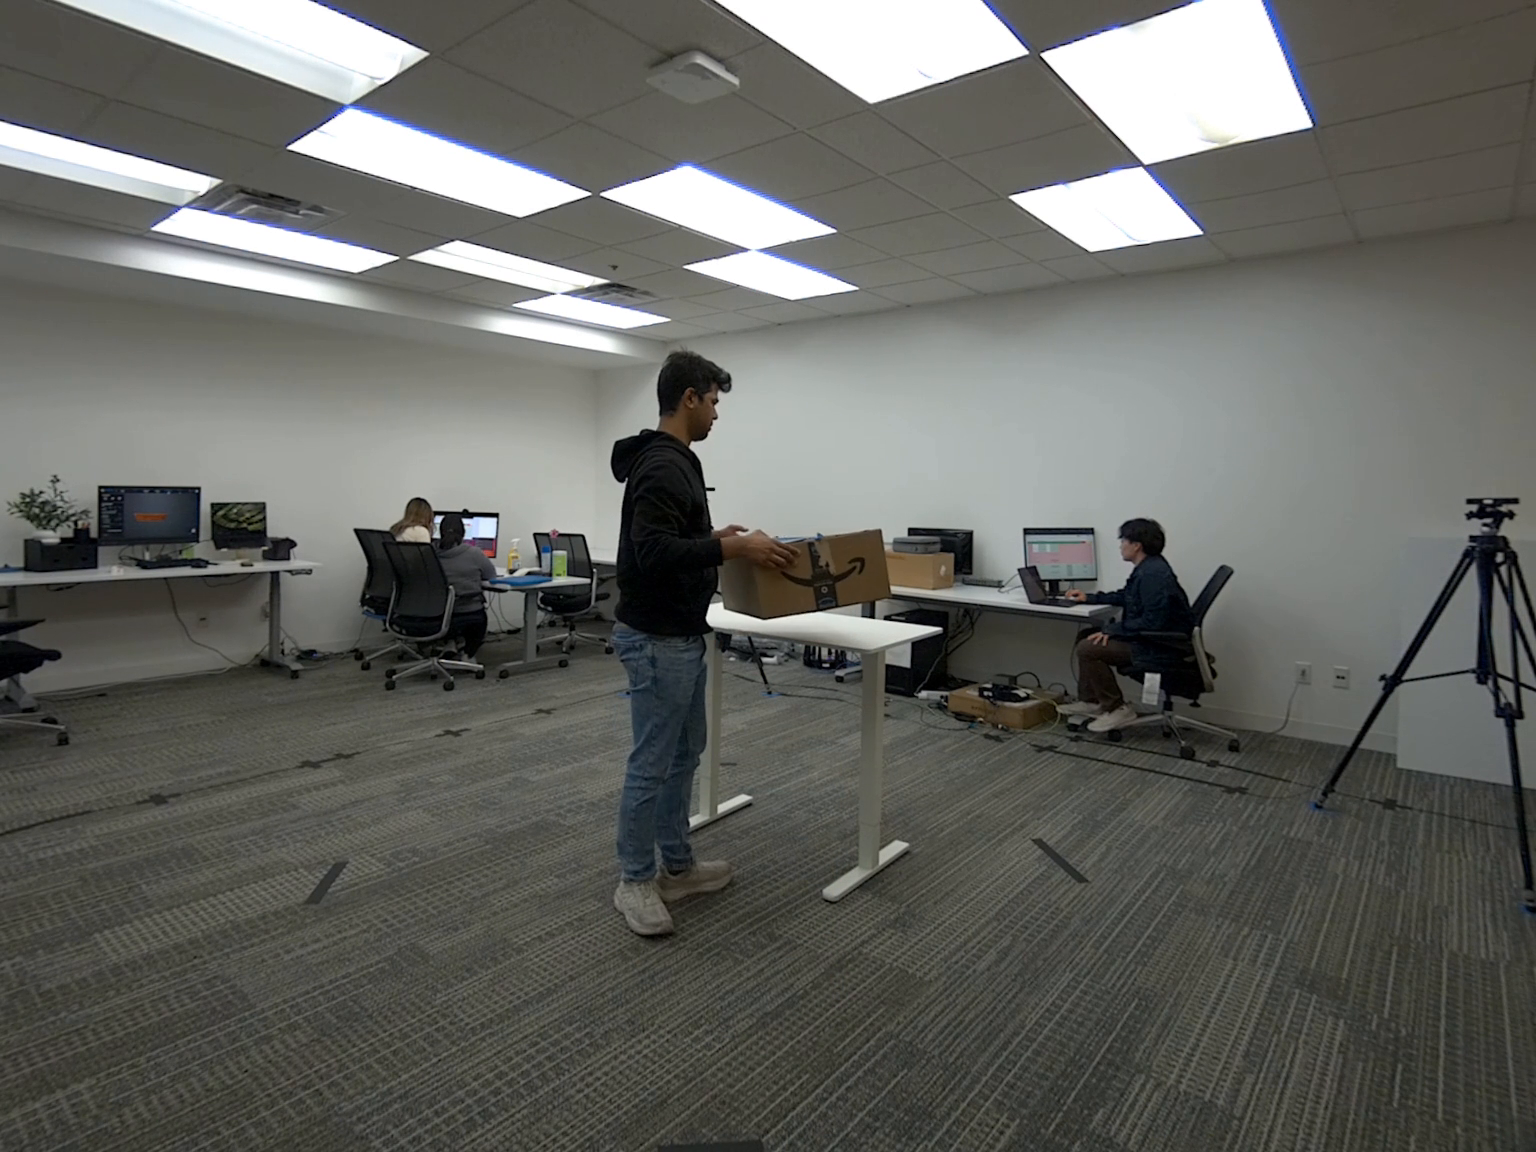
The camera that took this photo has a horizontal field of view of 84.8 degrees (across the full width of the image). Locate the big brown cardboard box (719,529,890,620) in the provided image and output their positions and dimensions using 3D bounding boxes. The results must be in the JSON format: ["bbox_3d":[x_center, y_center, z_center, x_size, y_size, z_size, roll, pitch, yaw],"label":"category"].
[{"bbox_3d":[0.076,-0.016,2.832,0.412,0.232,0.598,-8,4,-14],"label":"big brown cardboard box"}]
